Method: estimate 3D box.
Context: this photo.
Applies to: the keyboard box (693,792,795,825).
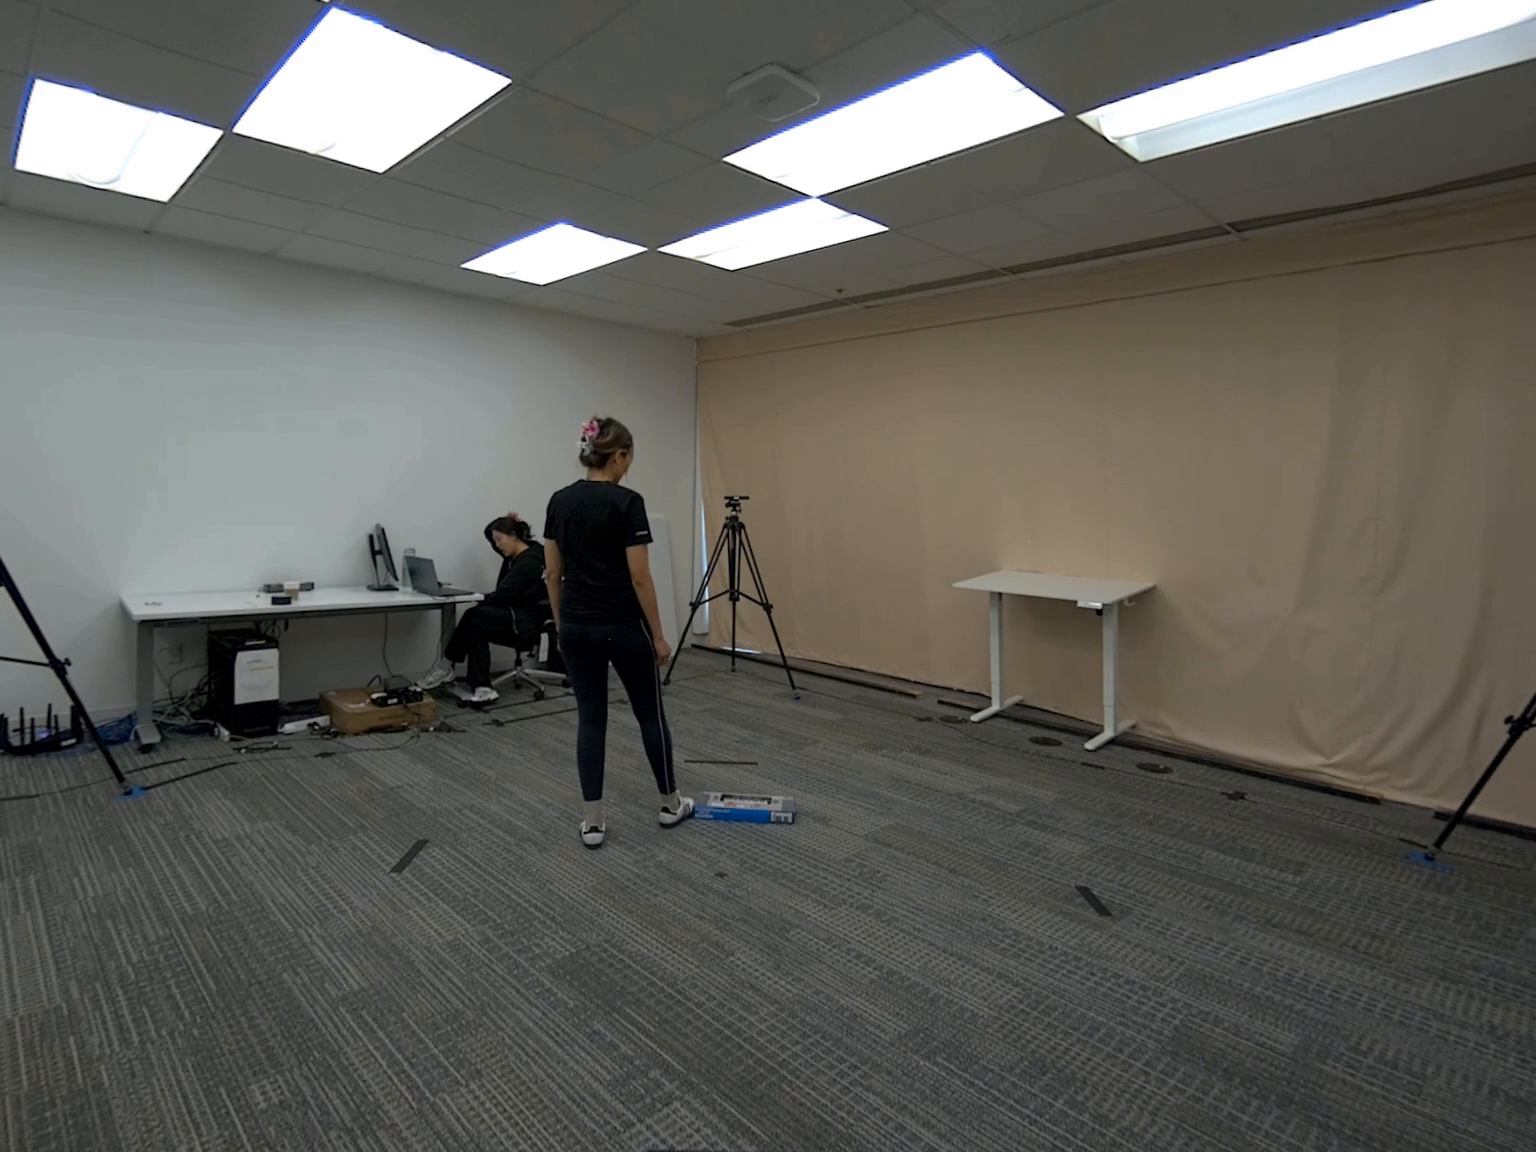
[{"bbox_3d":[-0.111,1.016,3.706,0.439,0.059,0.176,2,6,6],"label":"keyboard box"}]
